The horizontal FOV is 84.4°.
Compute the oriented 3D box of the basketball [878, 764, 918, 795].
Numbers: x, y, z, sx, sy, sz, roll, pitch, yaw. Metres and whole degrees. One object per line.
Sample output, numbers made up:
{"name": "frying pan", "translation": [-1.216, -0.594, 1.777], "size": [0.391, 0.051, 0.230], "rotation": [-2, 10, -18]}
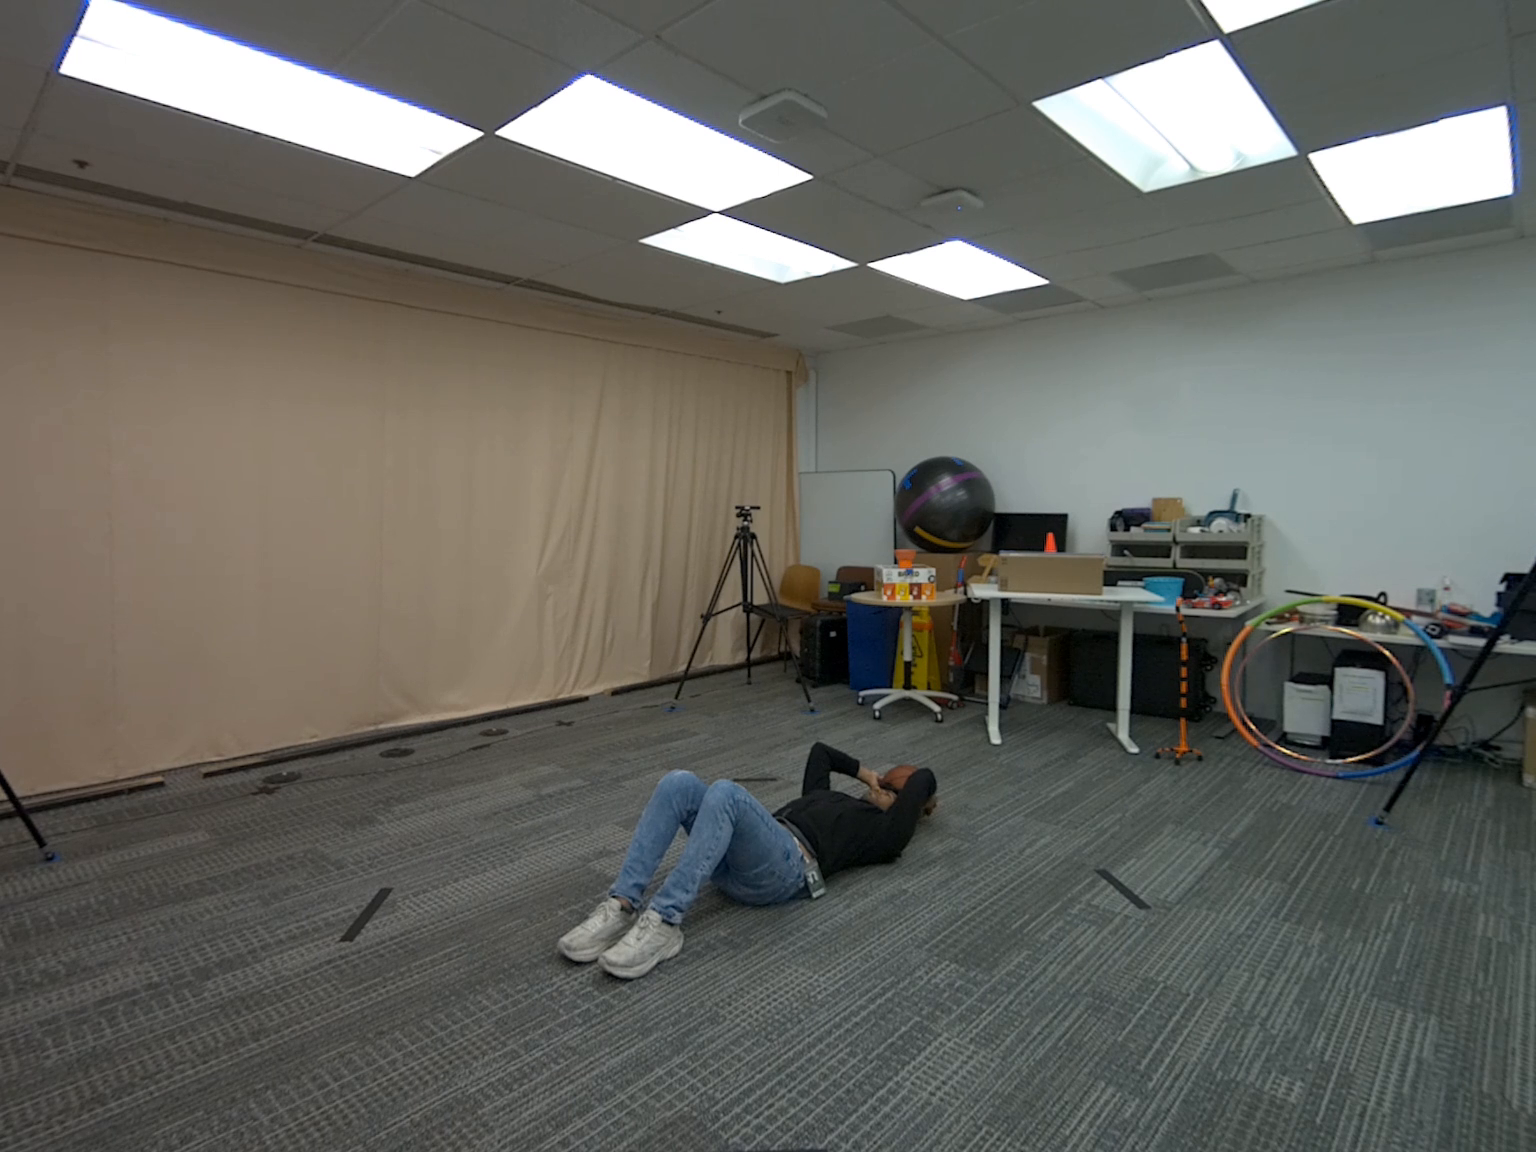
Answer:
{"name": "basketball", "translation": [0.619, 0.959, 3.732], "size": [0.236, 0.235, 0.237], "rotation": [0, 4, -2]}
